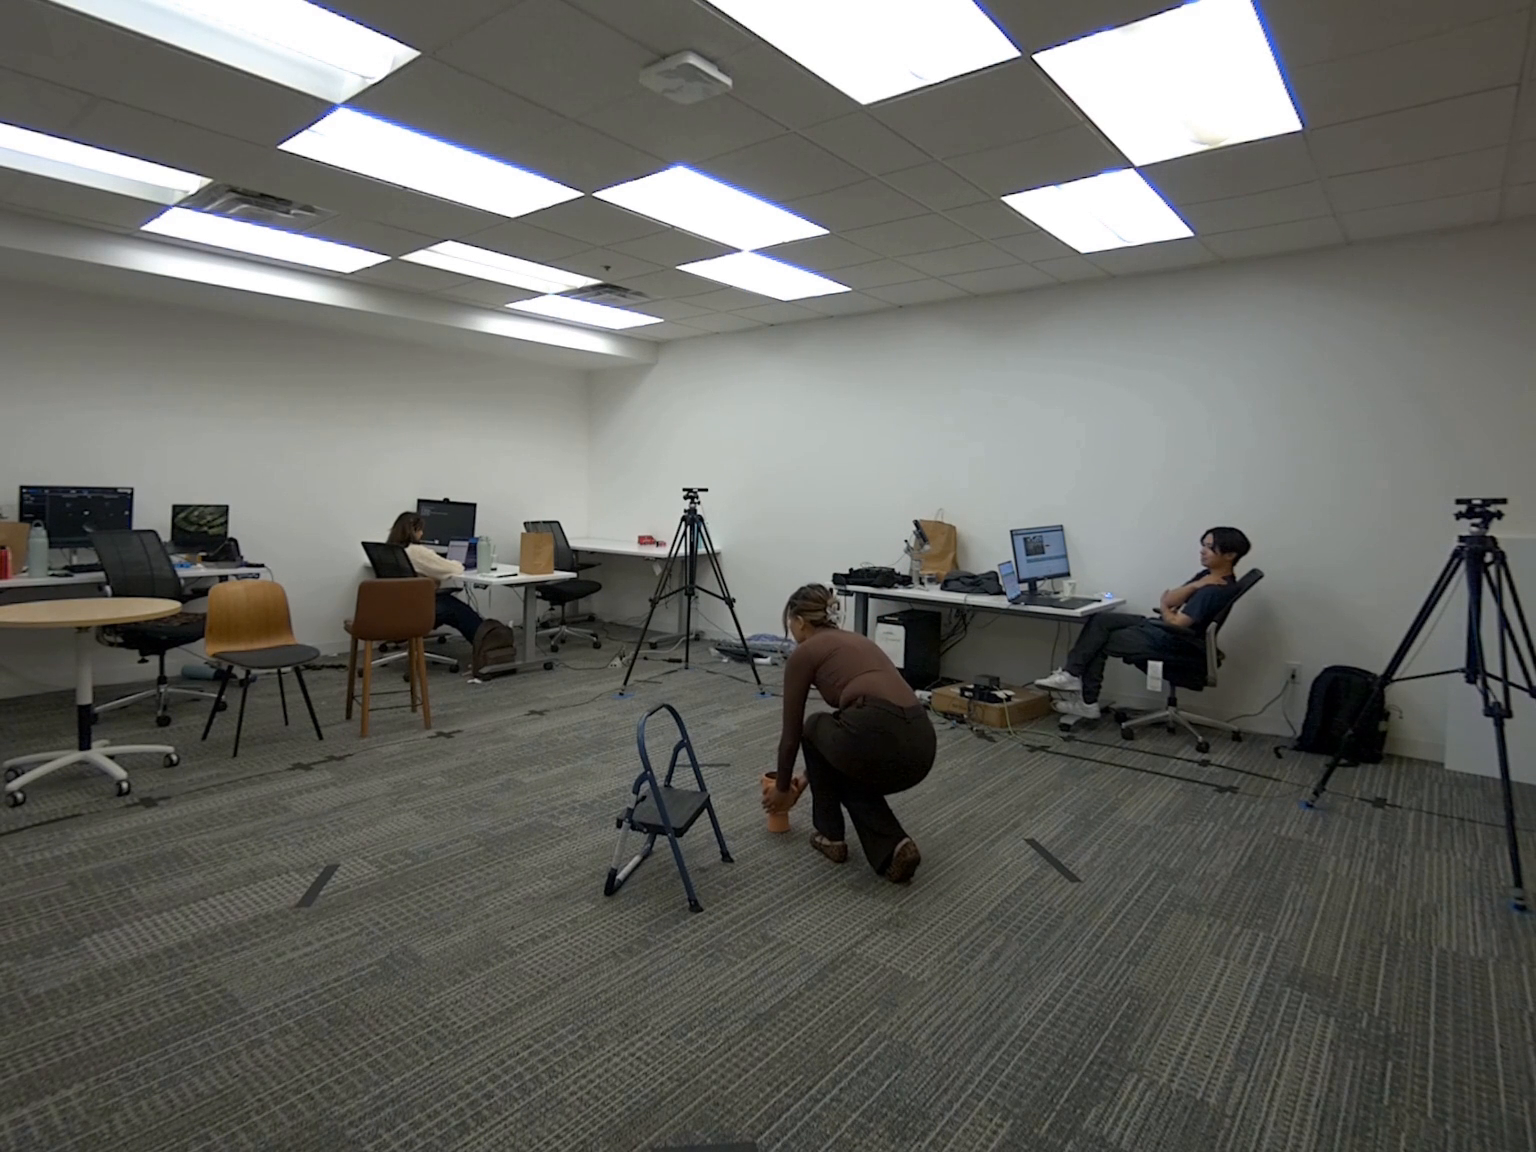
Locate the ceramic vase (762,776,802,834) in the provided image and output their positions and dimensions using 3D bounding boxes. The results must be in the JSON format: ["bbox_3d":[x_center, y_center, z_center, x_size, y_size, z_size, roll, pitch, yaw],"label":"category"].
[{"bbox_3d":[0.036,0.919,3.498,0.133,0.219,0.161,1,2,-13],"label":"ceramic vase"}]
